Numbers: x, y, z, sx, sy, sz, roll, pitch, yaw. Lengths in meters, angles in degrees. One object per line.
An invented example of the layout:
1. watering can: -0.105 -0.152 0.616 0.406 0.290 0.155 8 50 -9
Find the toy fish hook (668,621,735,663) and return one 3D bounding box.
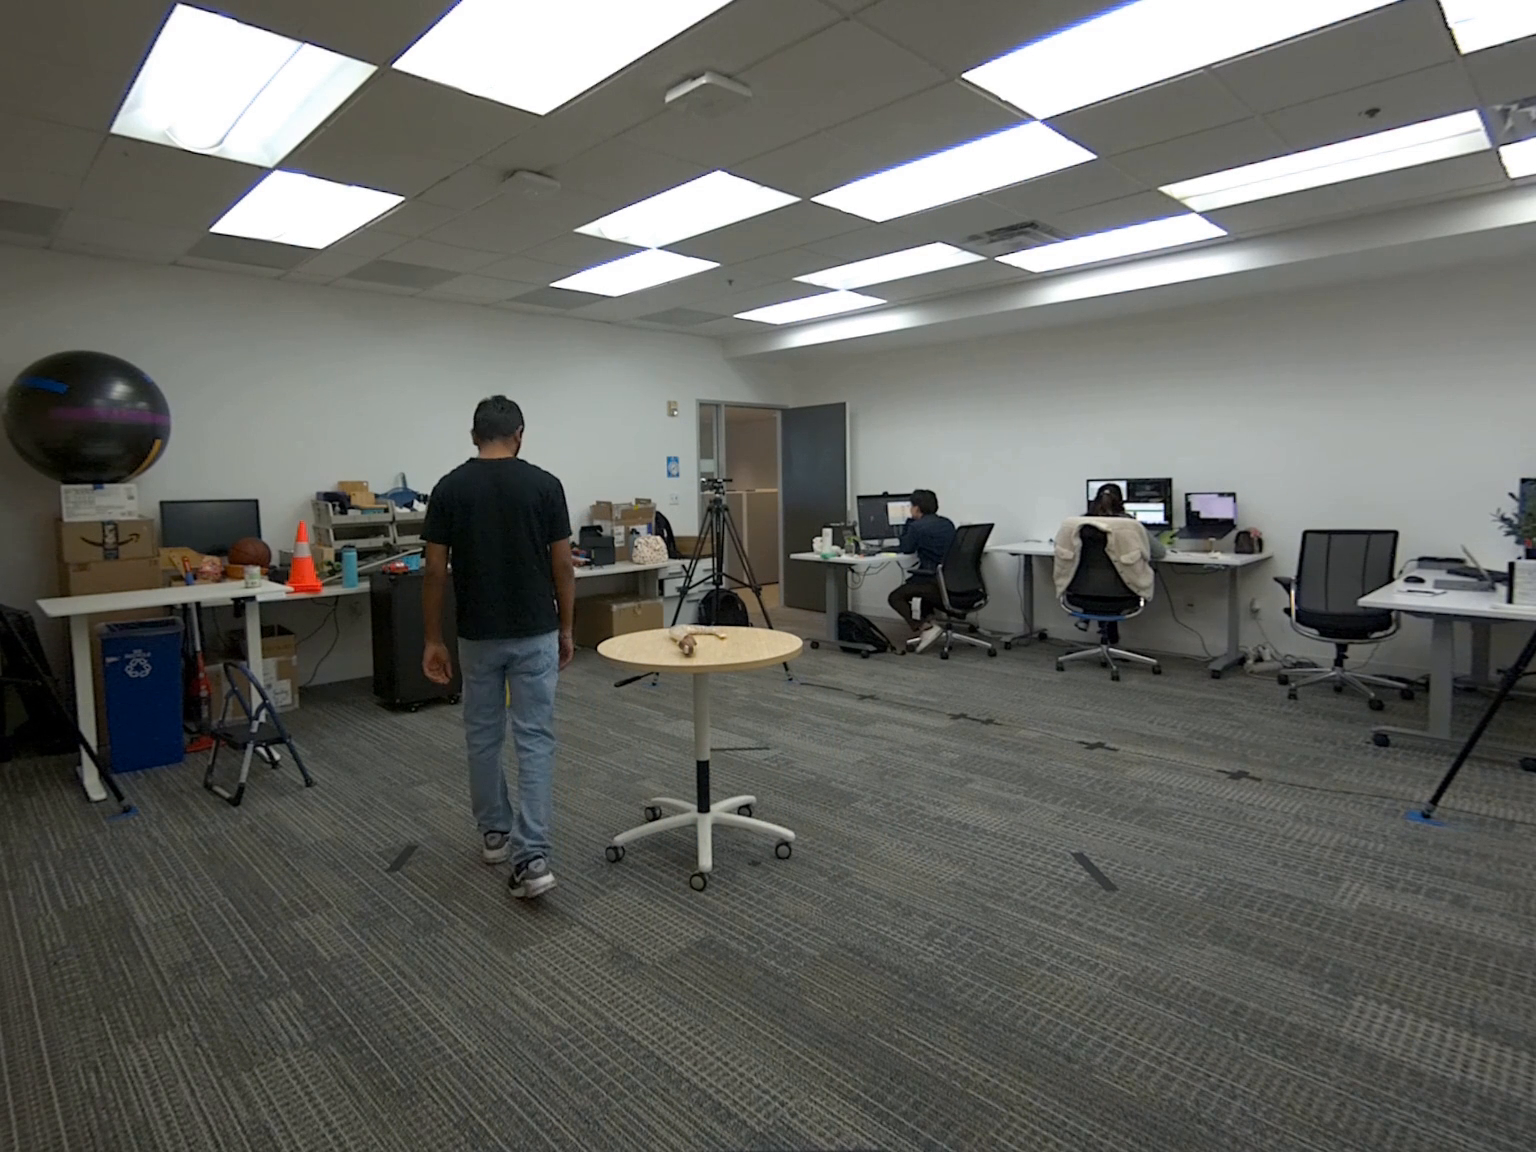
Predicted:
1. toy fish hook: -0.257 0.237 3.189 0.224 0.048 0.511 -4 6 -6
